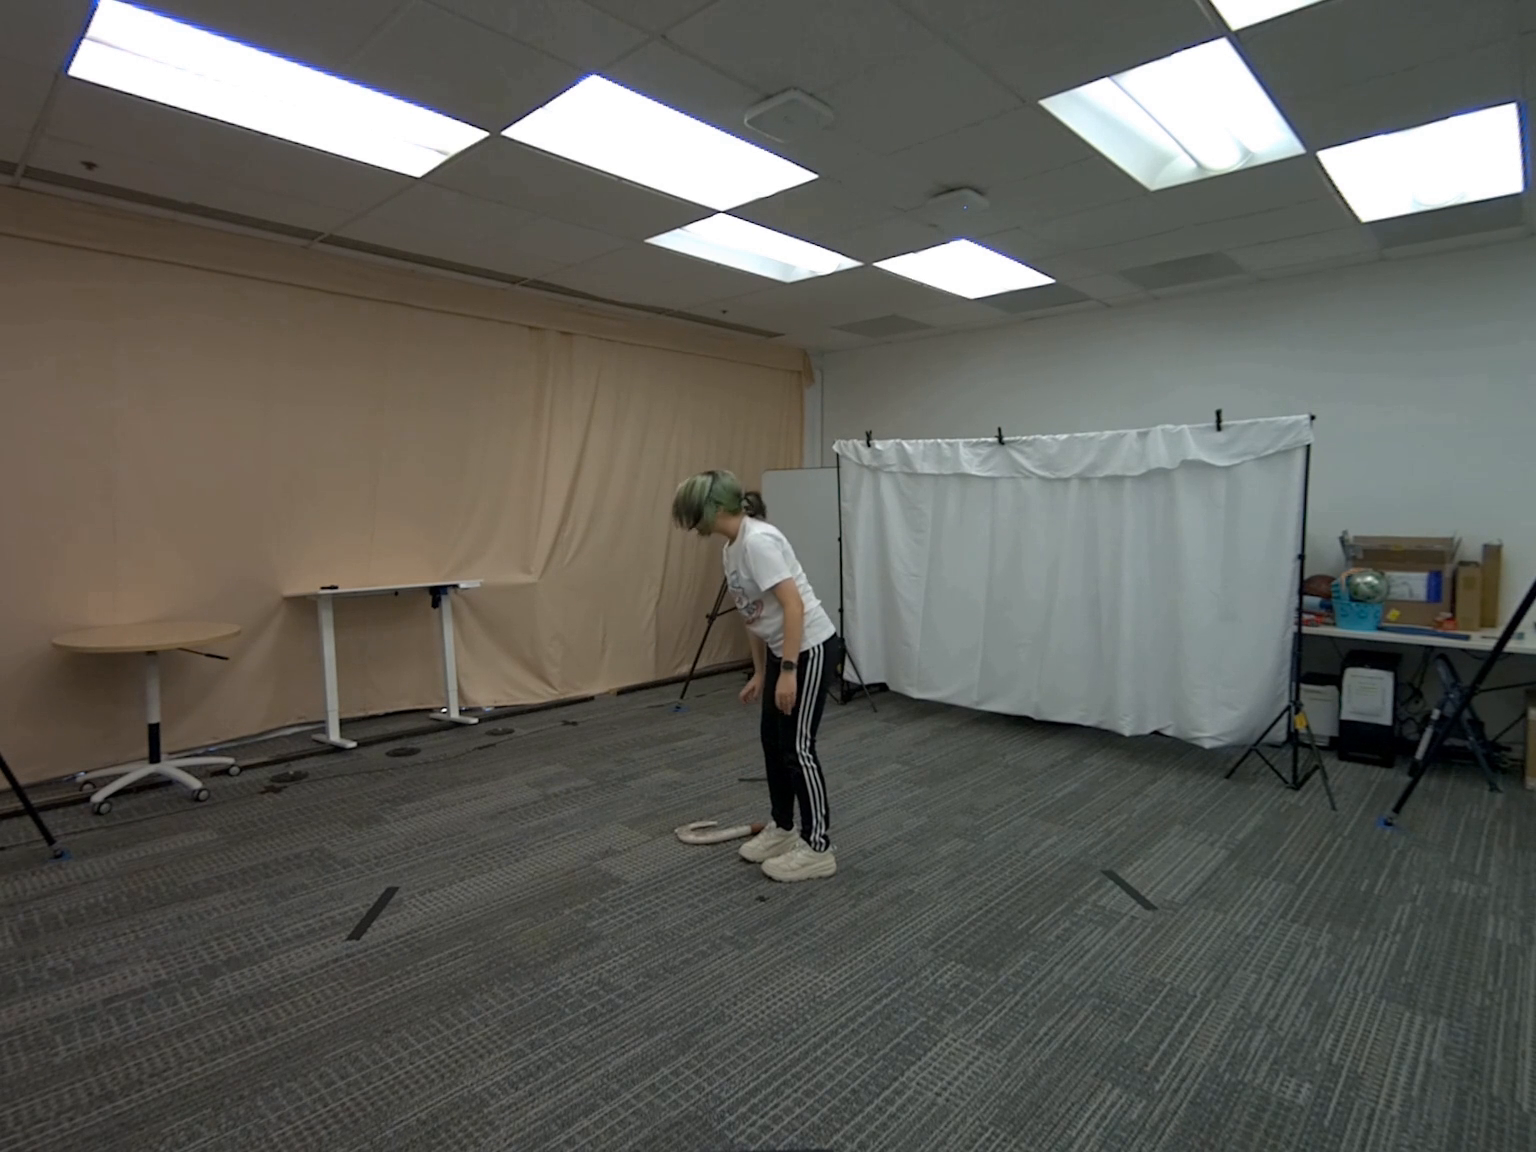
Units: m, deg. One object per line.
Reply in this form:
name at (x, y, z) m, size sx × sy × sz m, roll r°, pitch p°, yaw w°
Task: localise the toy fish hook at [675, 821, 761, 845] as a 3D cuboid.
toy fish hook at (-0.141, 1.072, 3.592) m, size 0.499 × 0.048 × 0.229 m, roll -2°, pitch 6°, yaw -15°
